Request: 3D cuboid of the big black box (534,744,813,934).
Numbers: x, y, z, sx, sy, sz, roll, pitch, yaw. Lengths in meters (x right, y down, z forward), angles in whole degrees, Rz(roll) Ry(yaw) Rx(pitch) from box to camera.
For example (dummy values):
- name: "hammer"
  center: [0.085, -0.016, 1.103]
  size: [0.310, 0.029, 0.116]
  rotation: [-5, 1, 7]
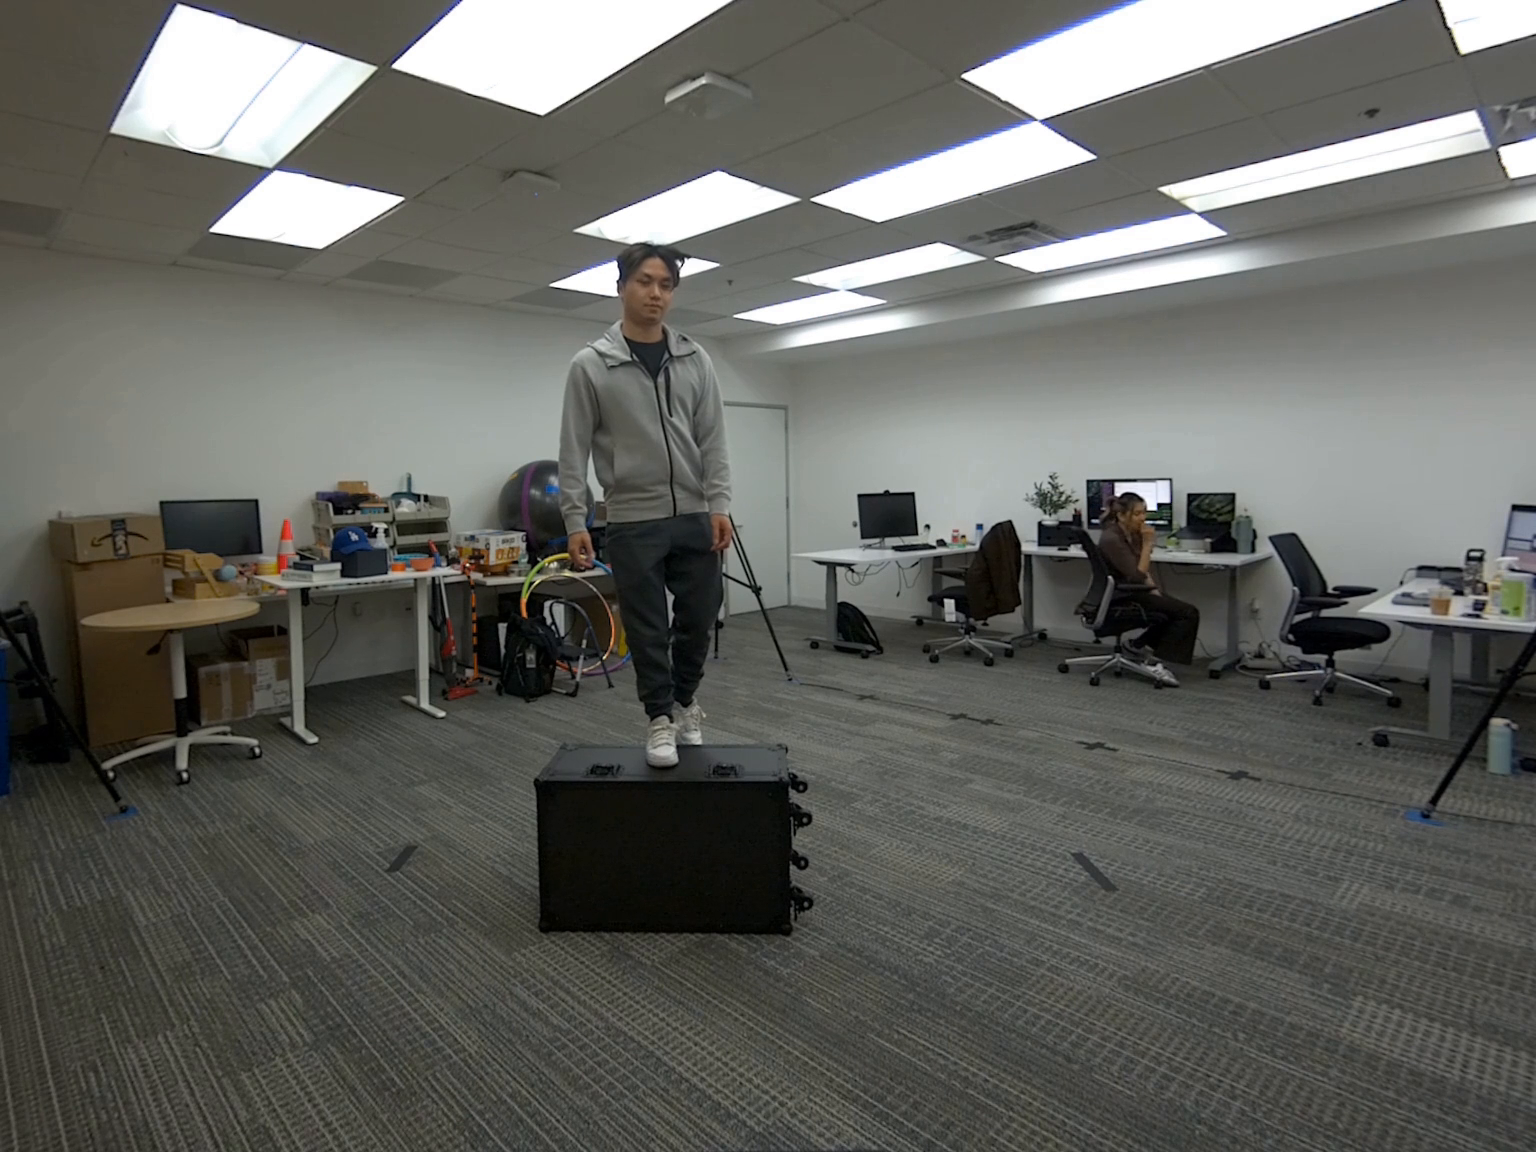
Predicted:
- name: "big black box"
  center: [-0.289, 0.842, 2.805]
  size: [0.865, 0.519, 0.396]
  rotation: [0, 4, 3]
